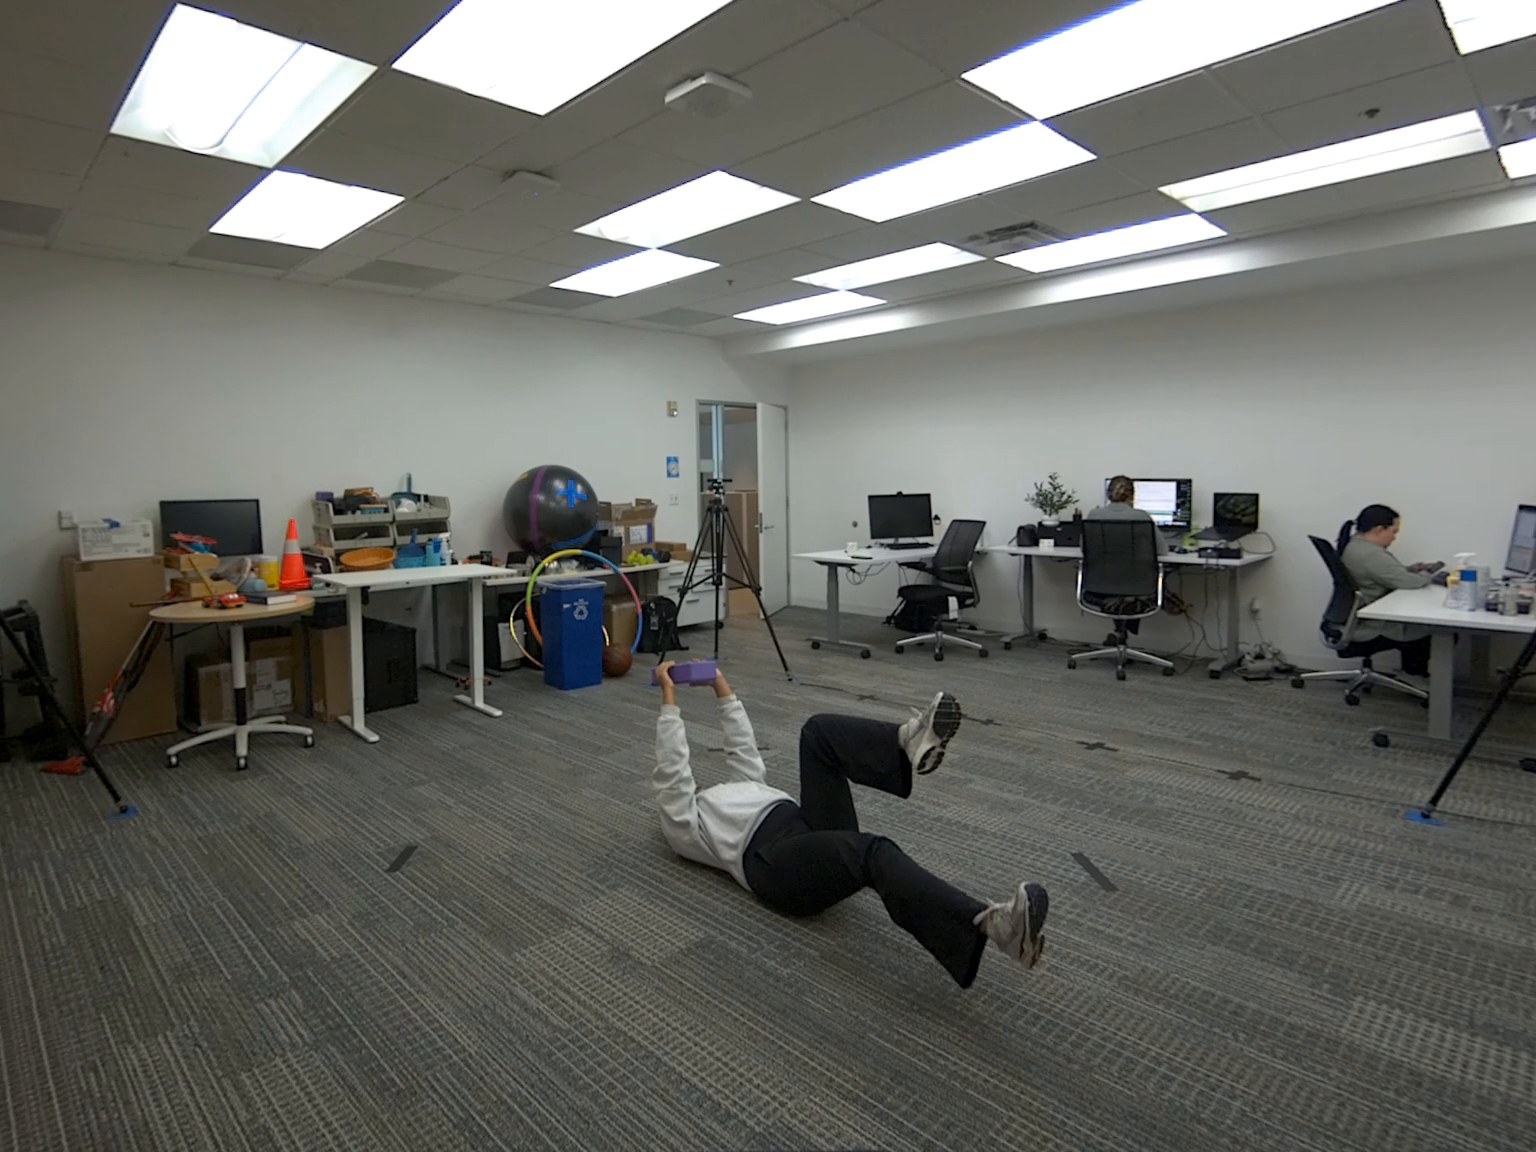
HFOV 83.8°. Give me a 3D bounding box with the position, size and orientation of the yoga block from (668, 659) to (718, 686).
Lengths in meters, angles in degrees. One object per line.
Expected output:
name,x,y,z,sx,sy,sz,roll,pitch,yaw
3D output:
yoga block,-0.333,0.386,3.363,0.234,0.077,0.144,-12,-10,41
